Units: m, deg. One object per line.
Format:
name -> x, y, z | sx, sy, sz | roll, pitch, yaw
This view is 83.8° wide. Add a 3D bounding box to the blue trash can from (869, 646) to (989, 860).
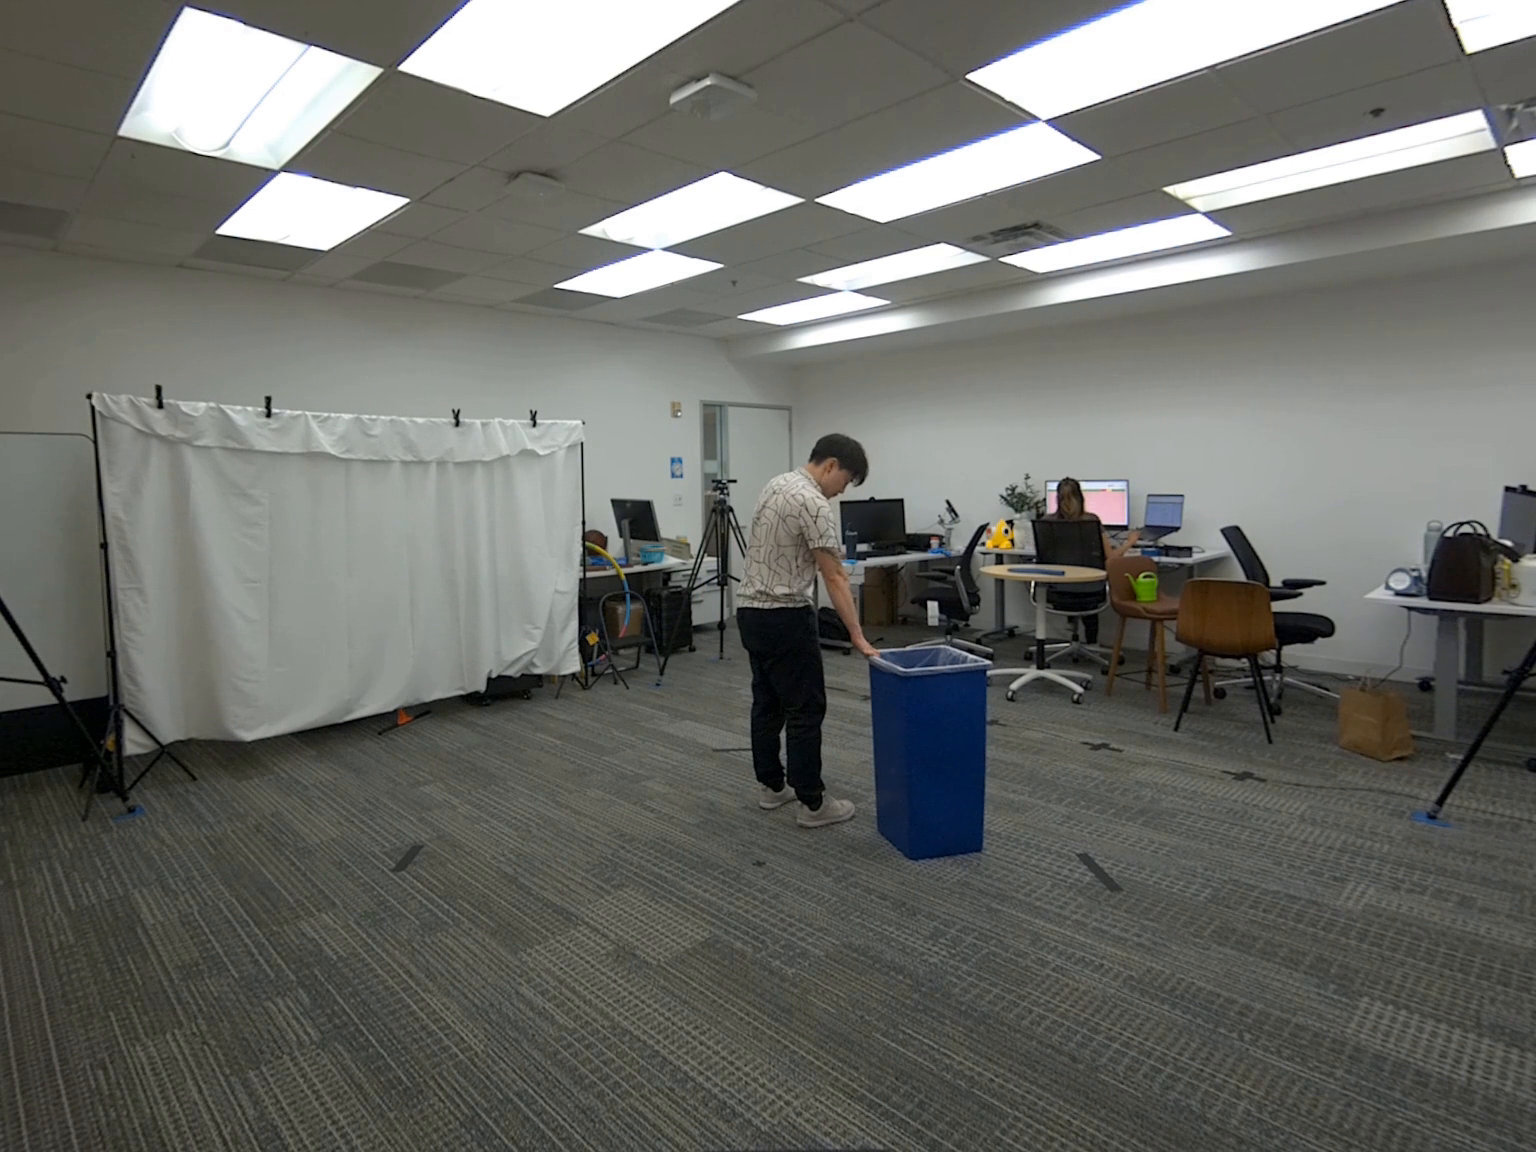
blue trash can -> 0.607, 0.662, 3.260 | 0.369, 0.712, 0.384 | -2, 3, -16
